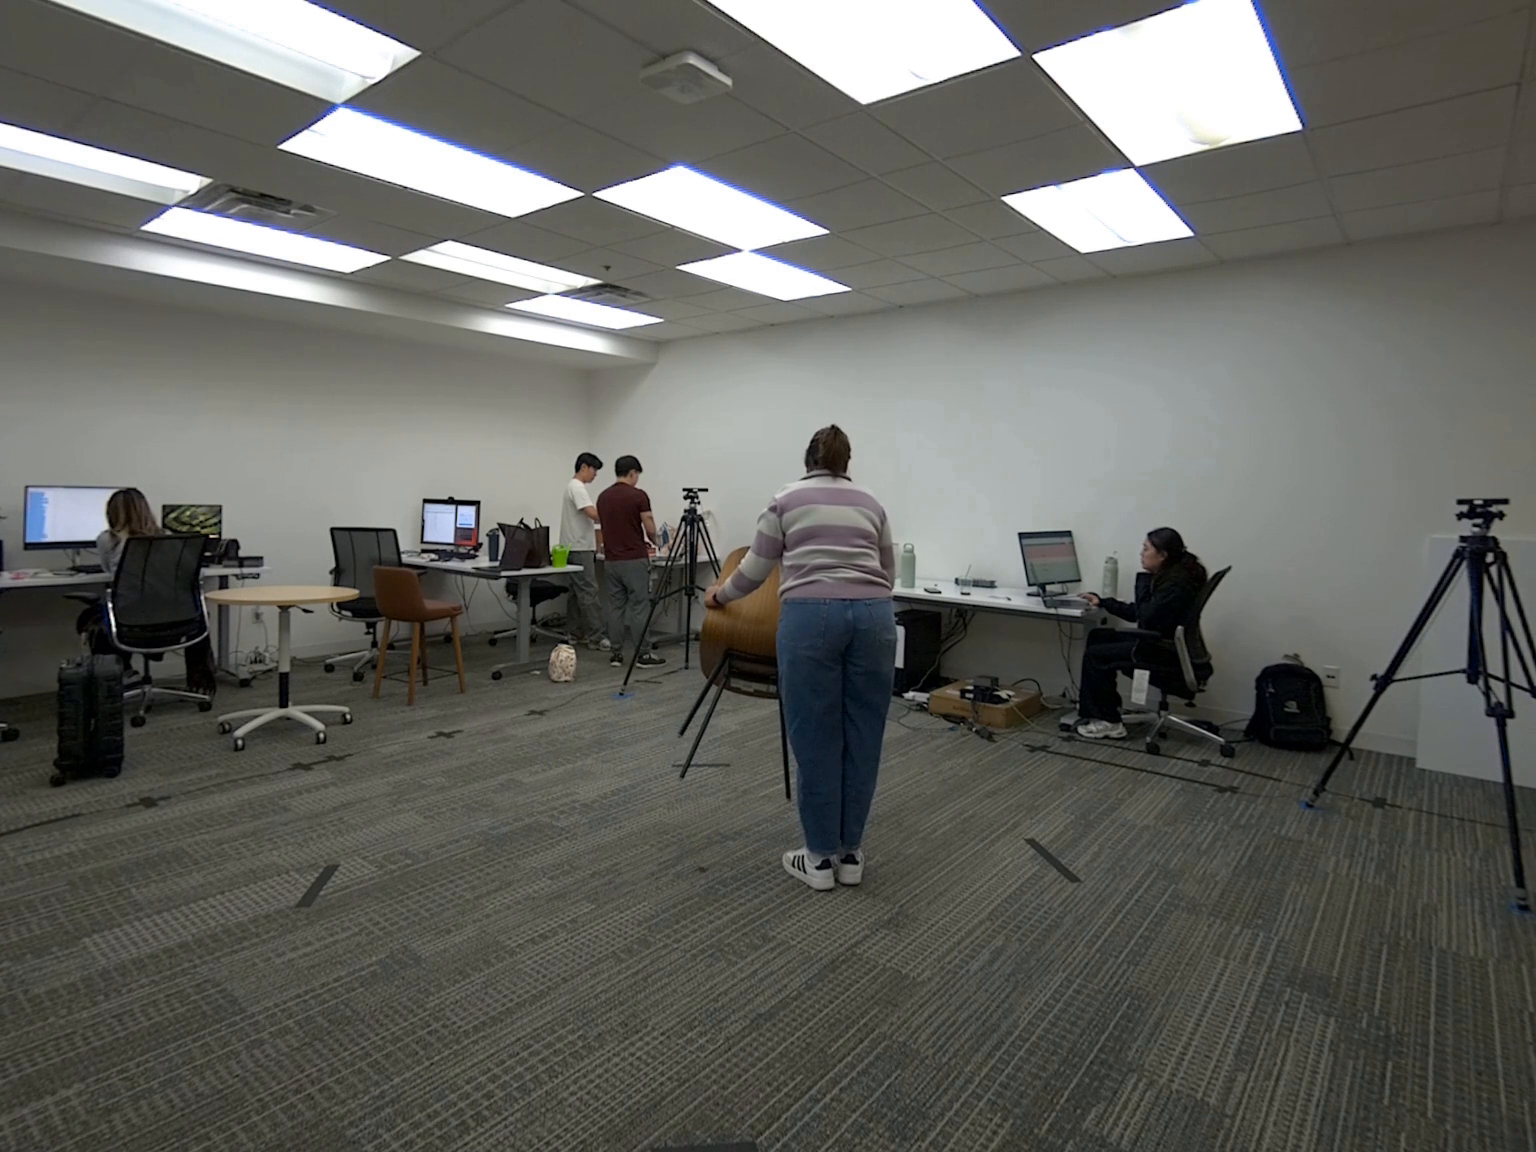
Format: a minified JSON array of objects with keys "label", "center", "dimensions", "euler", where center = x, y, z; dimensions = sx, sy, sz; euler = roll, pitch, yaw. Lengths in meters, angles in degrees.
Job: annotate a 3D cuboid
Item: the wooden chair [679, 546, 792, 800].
[{"label":"wooden chair","center":[-0.071,0.389,3.446],"dimensions":[0.481,0.894,0.510],"euler":[8,-31,4]}]
